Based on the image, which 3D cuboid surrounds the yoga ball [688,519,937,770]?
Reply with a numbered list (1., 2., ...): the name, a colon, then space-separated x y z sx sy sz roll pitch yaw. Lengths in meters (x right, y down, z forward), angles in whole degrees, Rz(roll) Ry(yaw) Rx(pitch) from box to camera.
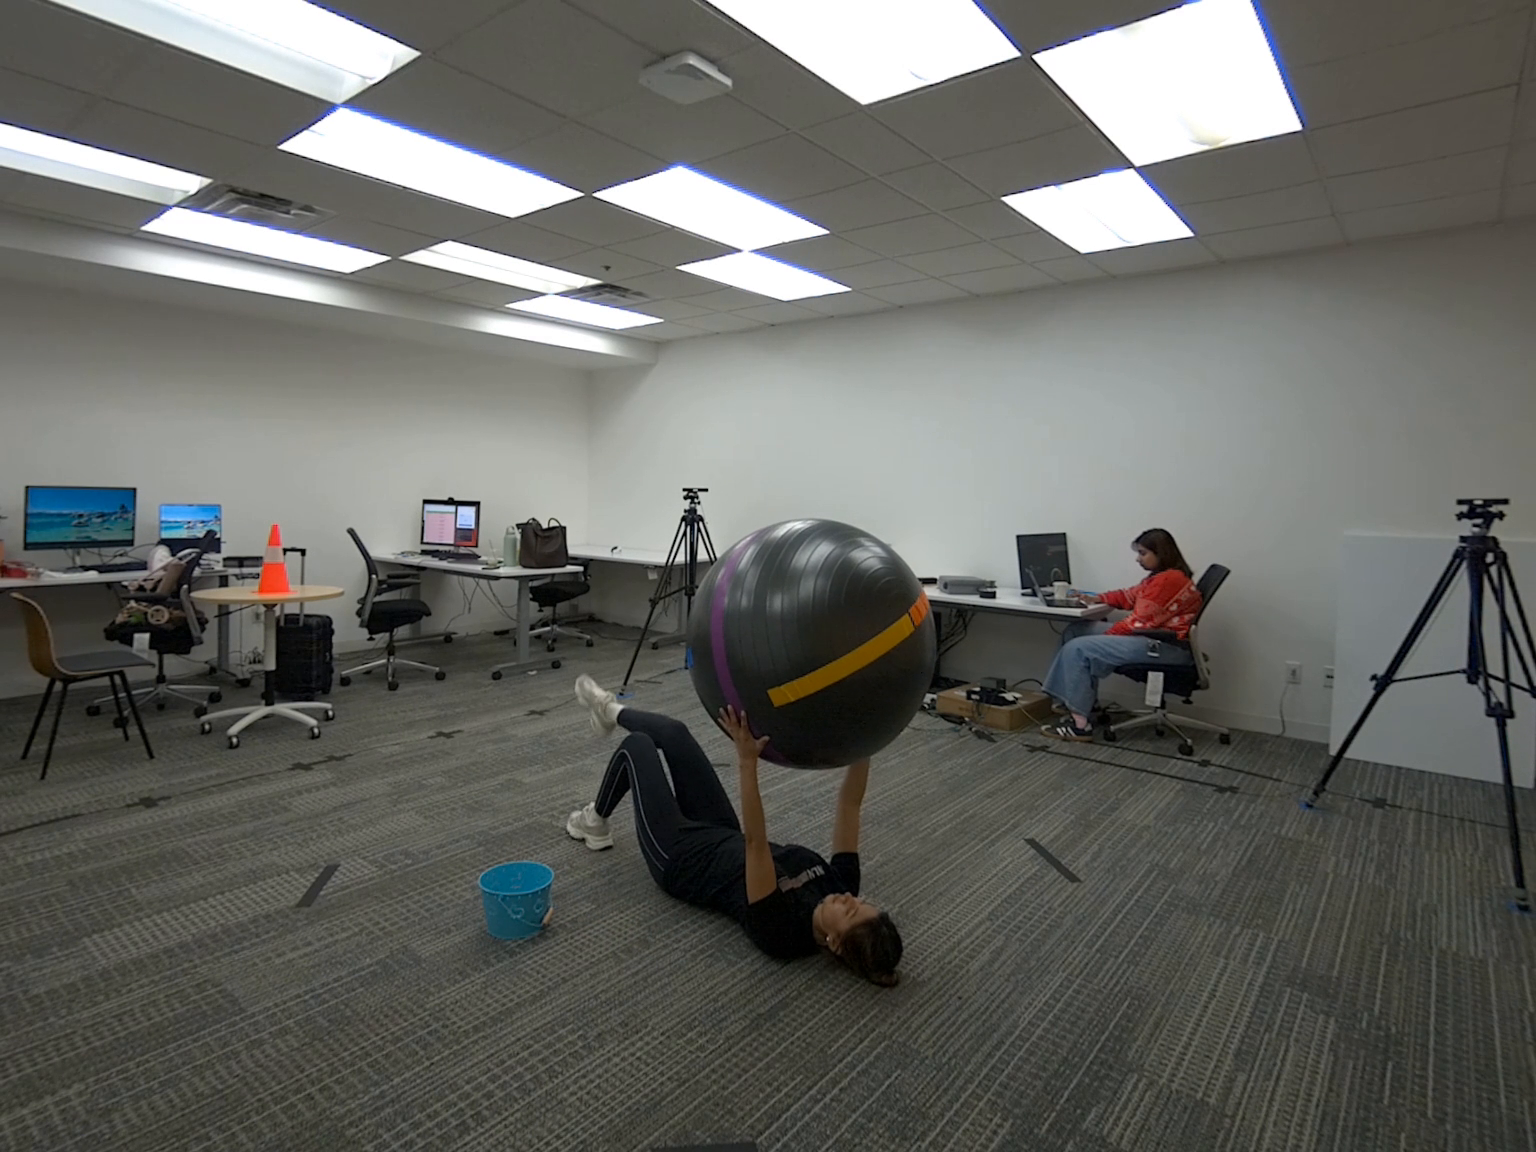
1. yoga ball: 0.122 0.205 2.602 0.757 0.756 0.761 -3 3 -2
